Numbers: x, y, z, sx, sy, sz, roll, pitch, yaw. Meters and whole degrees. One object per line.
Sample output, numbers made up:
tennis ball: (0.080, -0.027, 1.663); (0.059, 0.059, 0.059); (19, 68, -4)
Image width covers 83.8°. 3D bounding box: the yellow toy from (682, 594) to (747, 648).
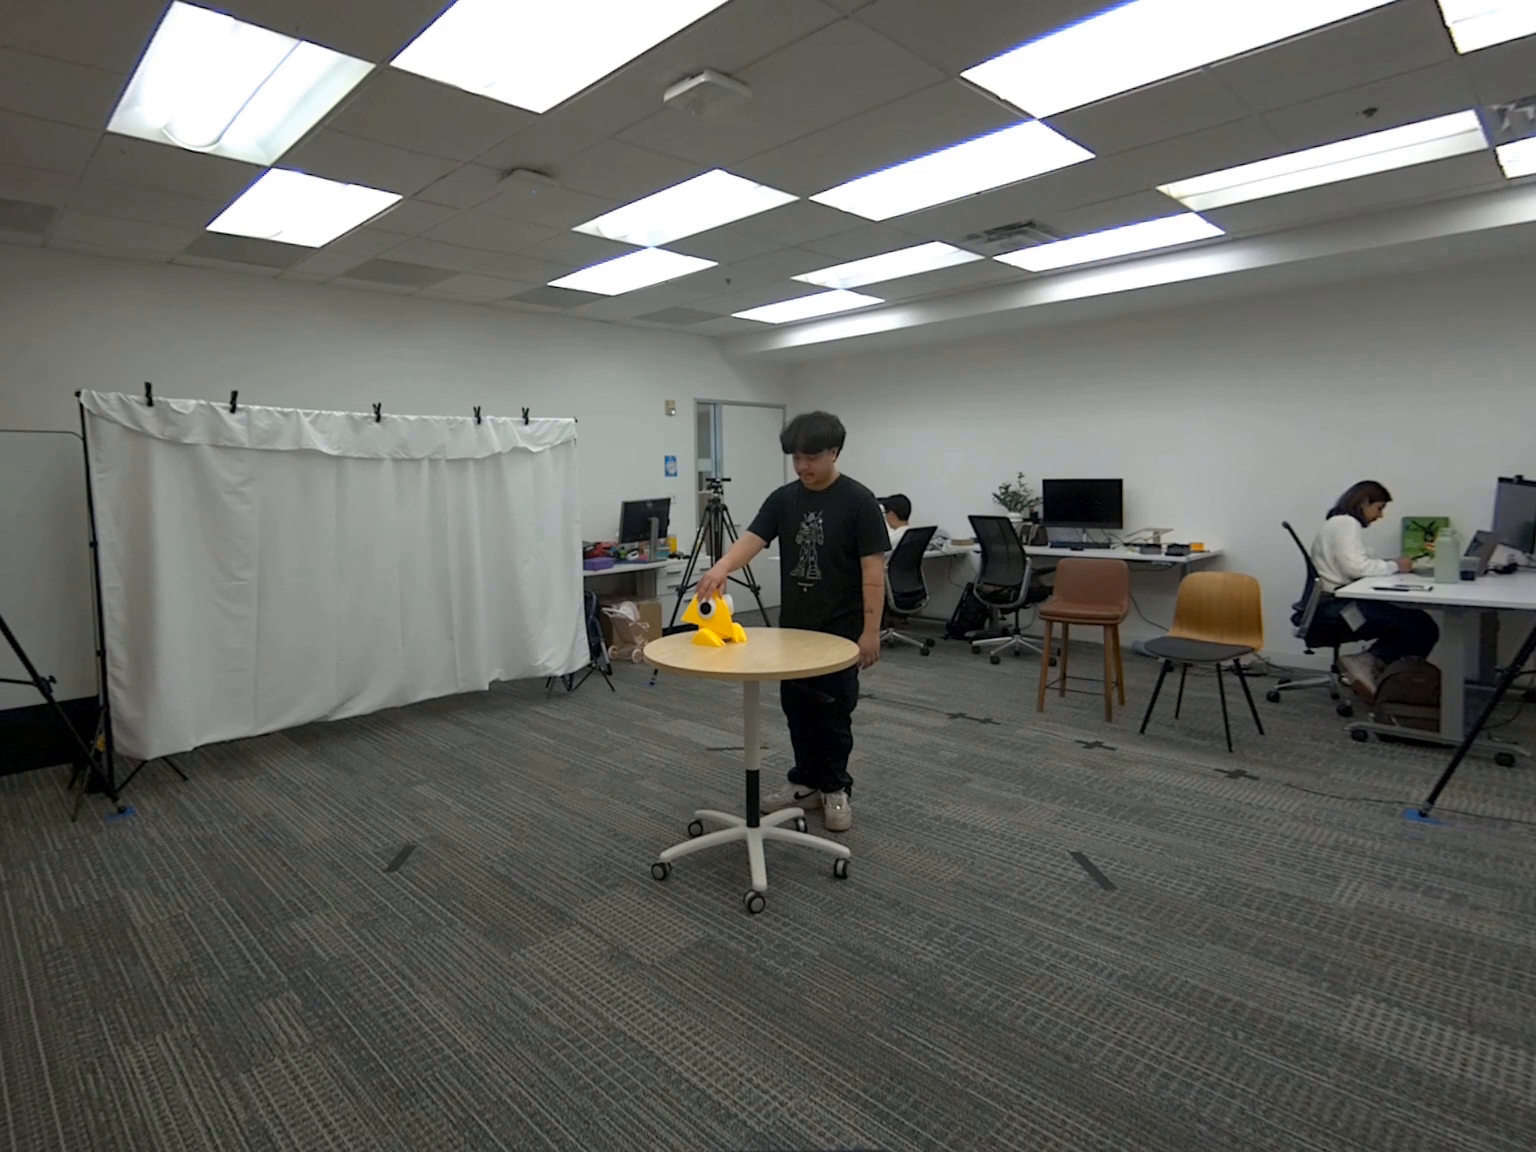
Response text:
yellow toy: (-0.186, 0.128, 3.170); (0.199, 0.230, 0.199); (-5, 7, -42)
